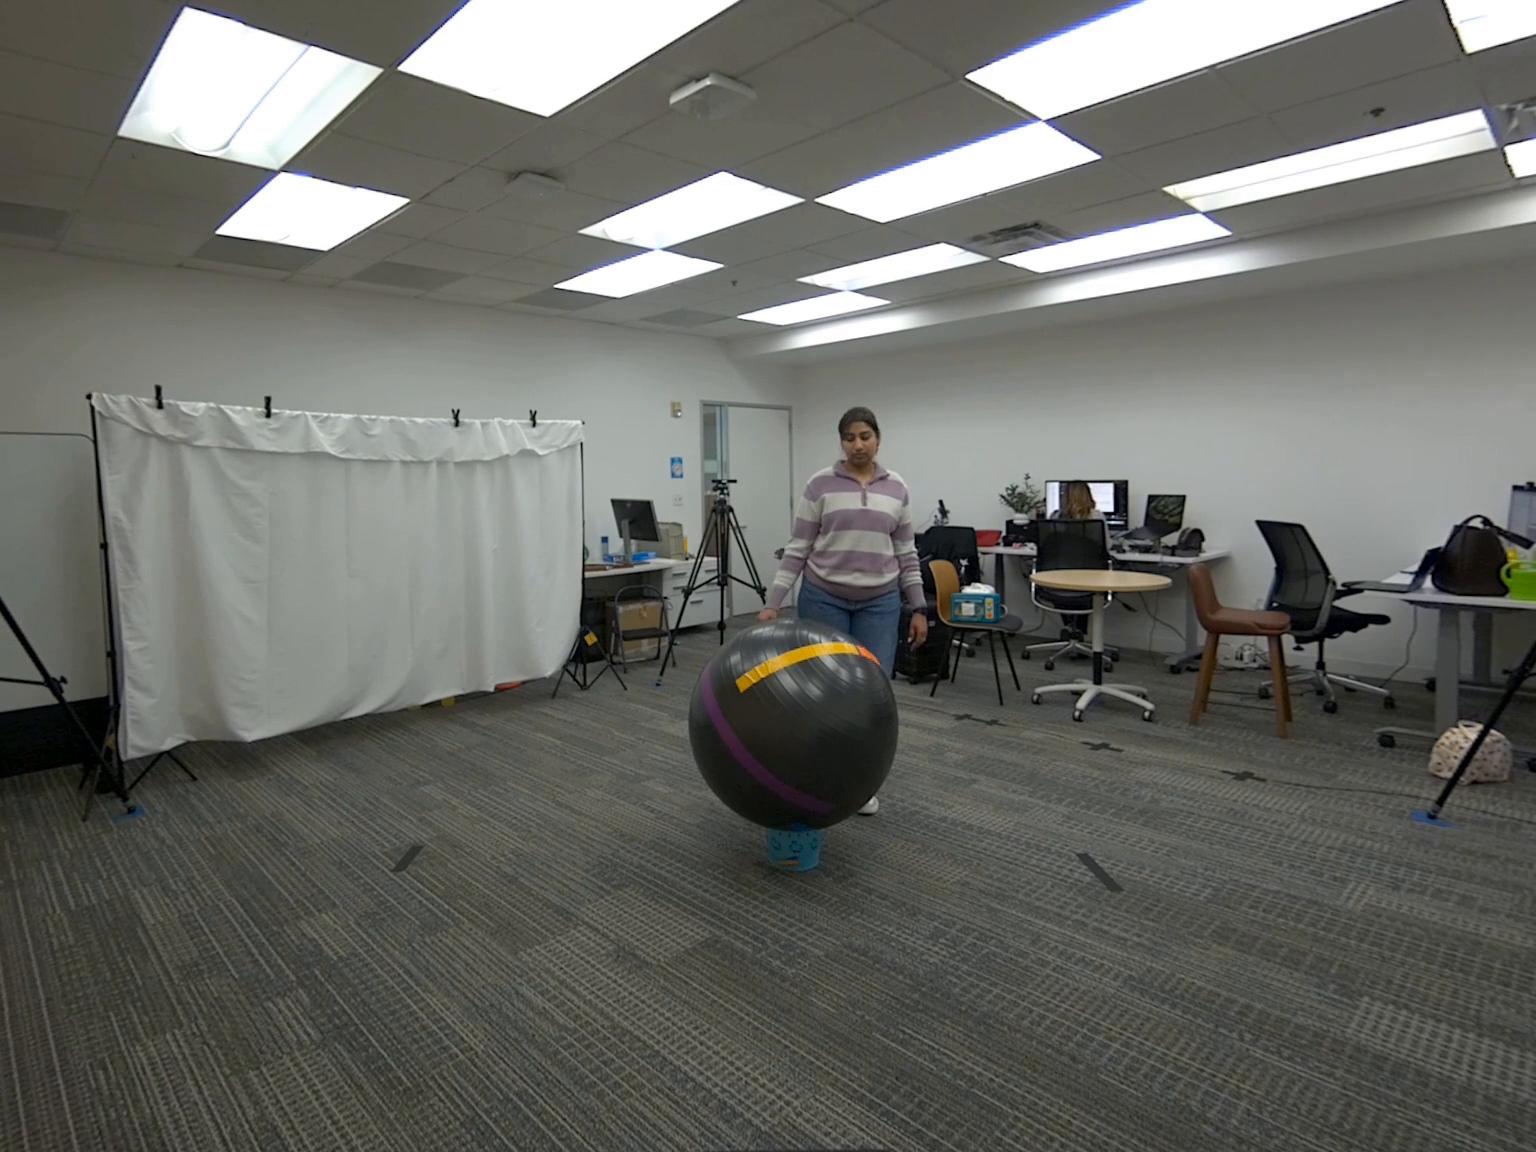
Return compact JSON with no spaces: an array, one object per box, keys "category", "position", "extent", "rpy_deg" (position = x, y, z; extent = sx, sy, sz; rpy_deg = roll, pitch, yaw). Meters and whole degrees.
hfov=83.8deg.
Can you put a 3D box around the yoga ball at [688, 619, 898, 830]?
[{"category":"yoga ball","position":[0.087,0.536,3.107],"extent":[0.757,0.755,0.762],"rpy_deg":[-1,5,-2]}]
